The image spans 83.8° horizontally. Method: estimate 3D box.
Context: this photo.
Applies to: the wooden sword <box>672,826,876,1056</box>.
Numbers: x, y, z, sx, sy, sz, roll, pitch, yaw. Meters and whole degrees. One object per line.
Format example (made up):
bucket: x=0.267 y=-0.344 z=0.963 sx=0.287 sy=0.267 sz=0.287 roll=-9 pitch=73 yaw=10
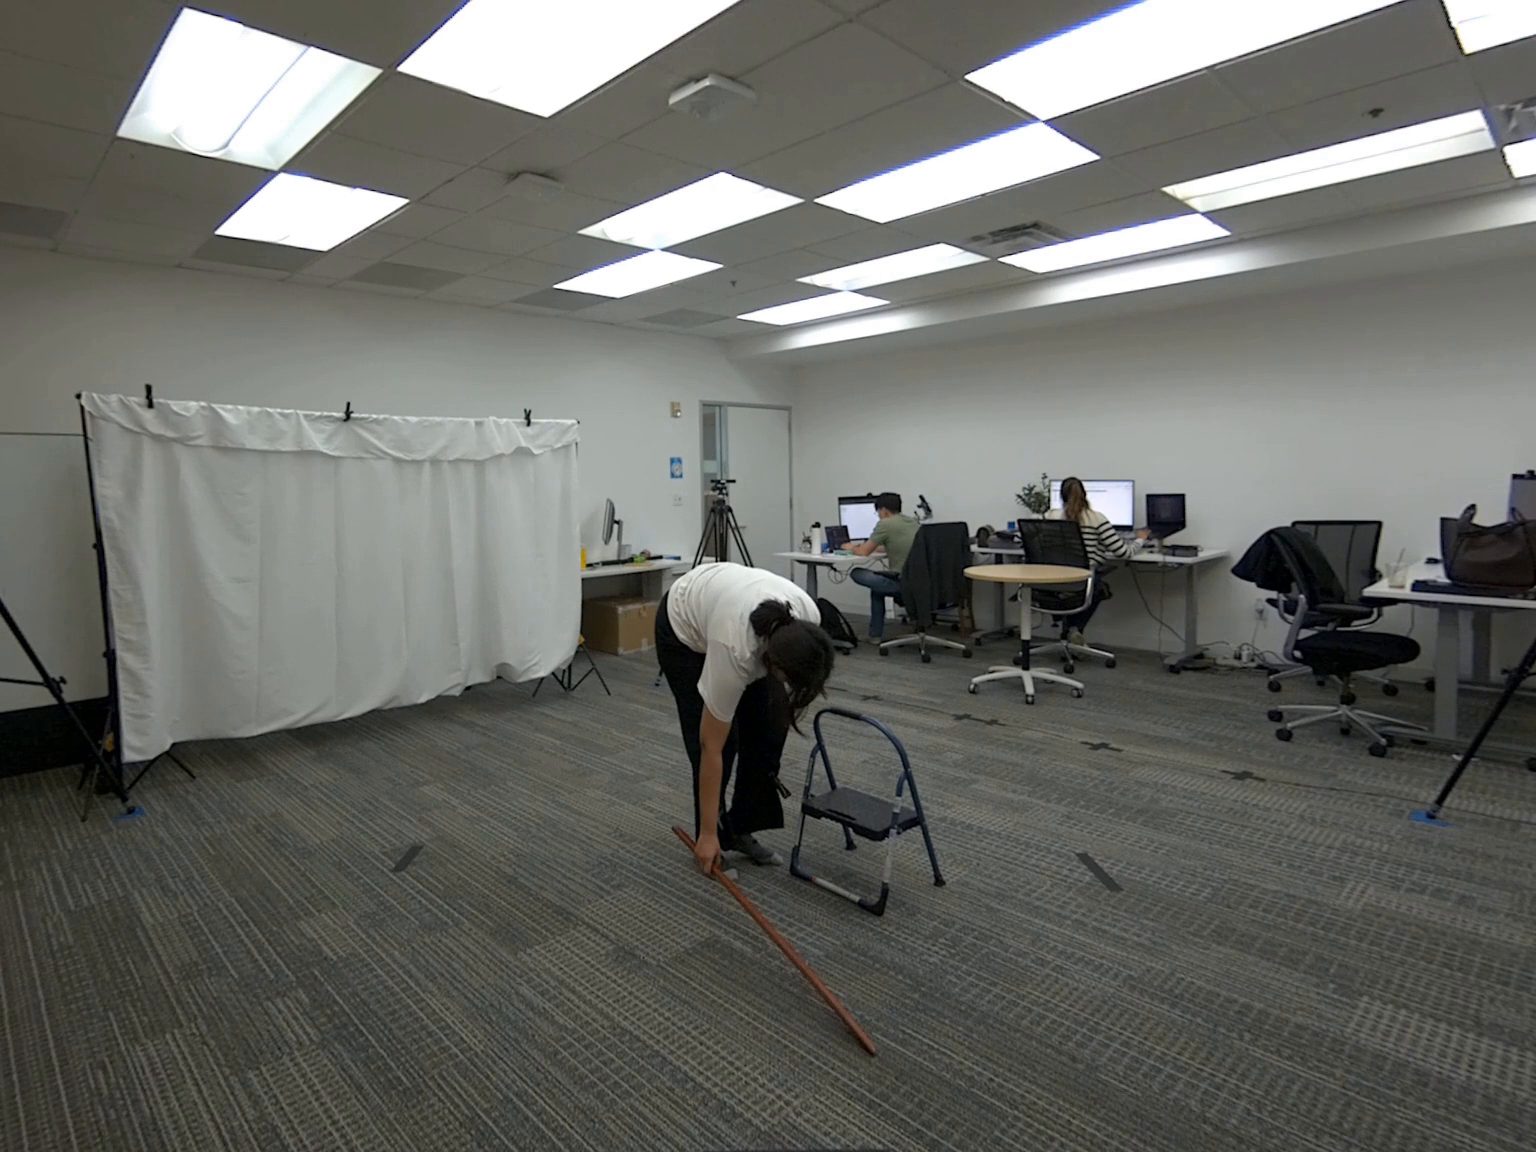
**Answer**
wooden sword: x=-0.007 y=1.019 z=2.496 sx=0.051 sy=0.023 sz=1.062 roll=-35 pitch=32 yaw=-19
